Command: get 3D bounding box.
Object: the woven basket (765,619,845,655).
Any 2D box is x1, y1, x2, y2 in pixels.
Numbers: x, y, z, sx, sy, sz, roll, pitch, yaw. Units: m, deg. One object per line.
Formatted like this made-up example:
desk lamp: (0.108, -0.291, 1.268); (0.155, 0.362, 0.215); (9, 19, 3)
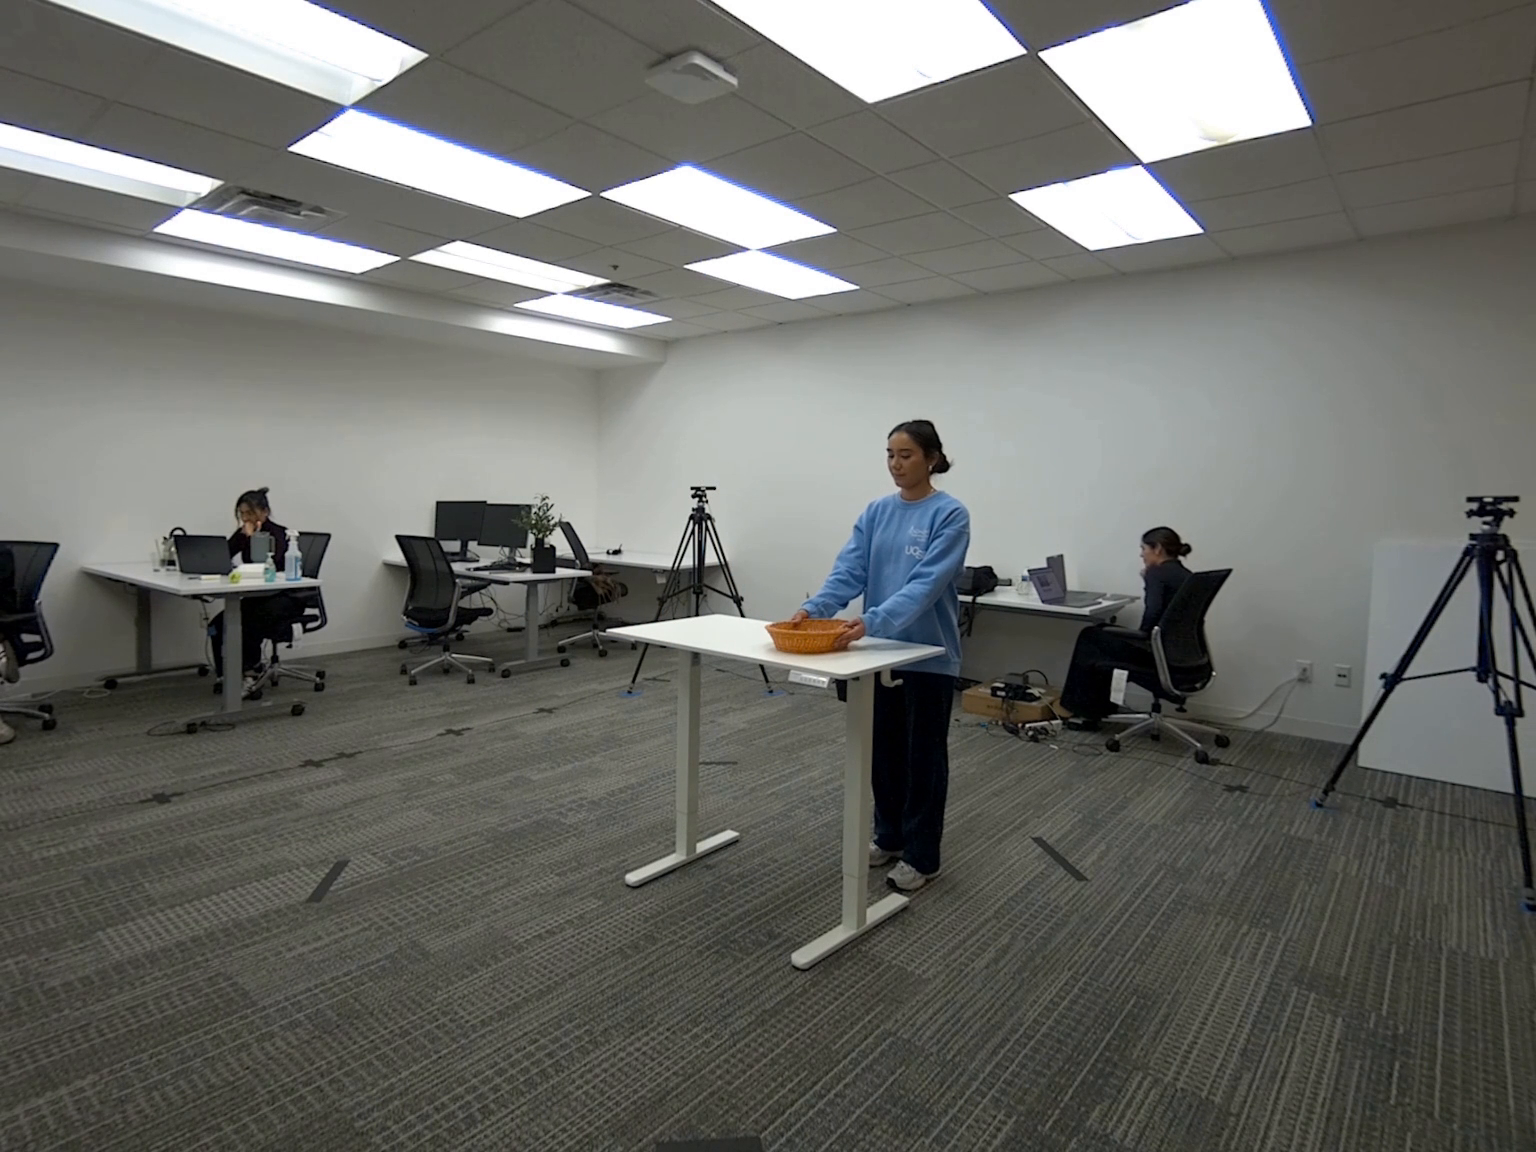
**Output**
woven basket: (0.137, 0.195, 2.747); (0.260, 0.073, 0.340); (3, 3, 34)
